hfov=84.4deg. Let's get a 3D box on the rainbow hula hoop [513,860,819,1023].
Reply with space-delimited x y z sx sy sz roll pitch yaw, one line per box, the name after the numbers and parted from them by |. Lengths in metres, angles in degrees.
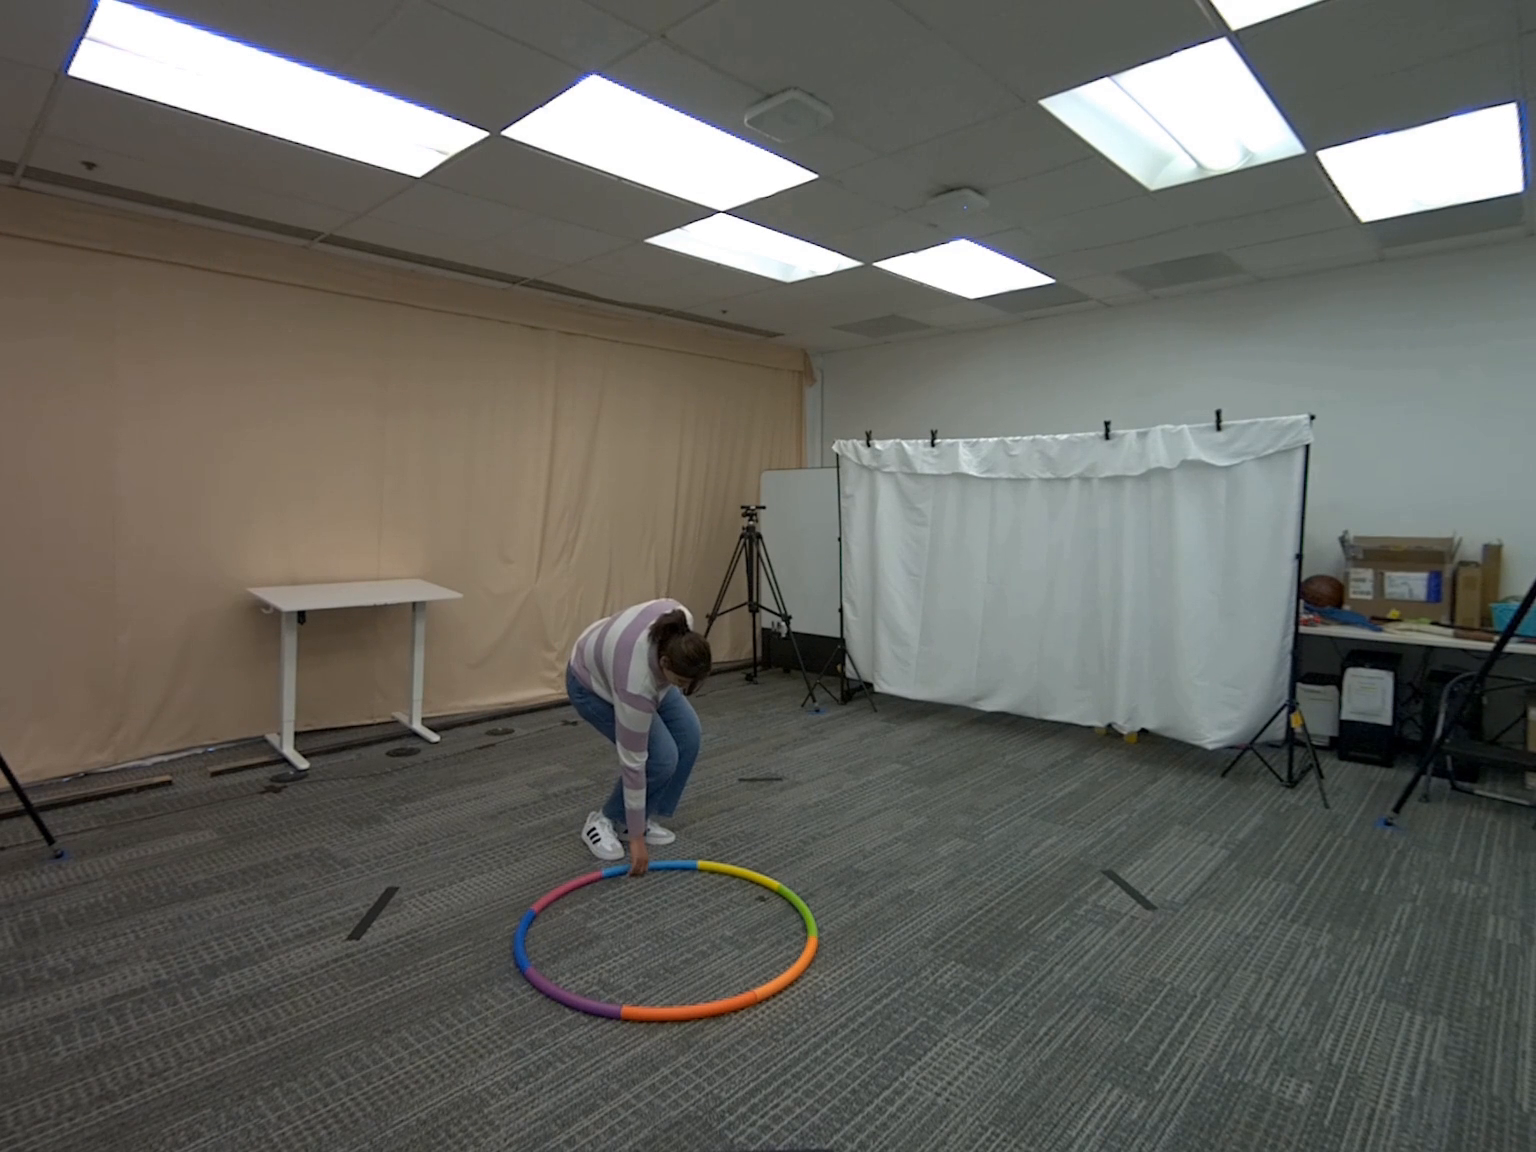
-0.325 1.134 2.755 0.985 0.051 0.989 0 5 -2 | rainbow hula hoop
